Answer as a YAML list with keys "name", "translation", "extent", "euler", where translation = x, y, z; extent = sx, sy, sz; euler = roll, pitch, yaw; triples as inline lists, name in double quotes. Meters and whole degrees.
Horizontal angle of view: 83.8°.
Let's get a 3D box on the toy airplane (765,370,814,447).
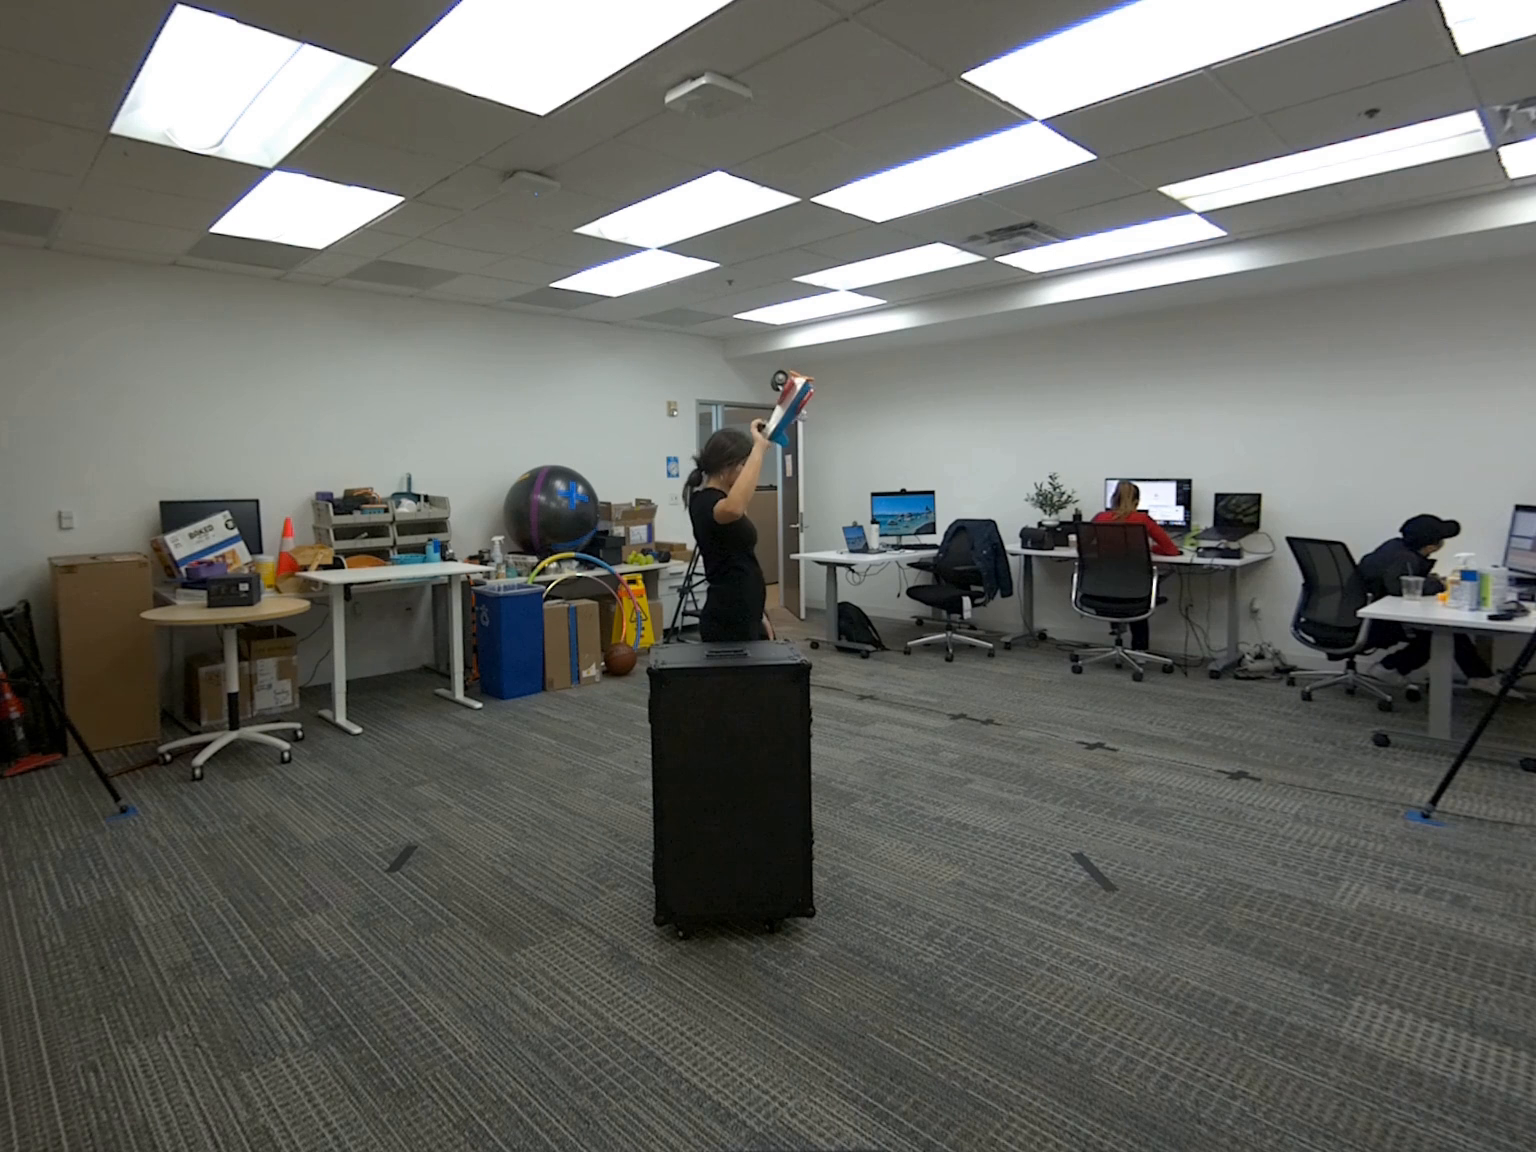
- name: "toy airplane"
  translation: [0.053, -0.596, 3.045]
  extent: [0.156, 0.256, 0.254]
  euler: [20, 24, -3]
